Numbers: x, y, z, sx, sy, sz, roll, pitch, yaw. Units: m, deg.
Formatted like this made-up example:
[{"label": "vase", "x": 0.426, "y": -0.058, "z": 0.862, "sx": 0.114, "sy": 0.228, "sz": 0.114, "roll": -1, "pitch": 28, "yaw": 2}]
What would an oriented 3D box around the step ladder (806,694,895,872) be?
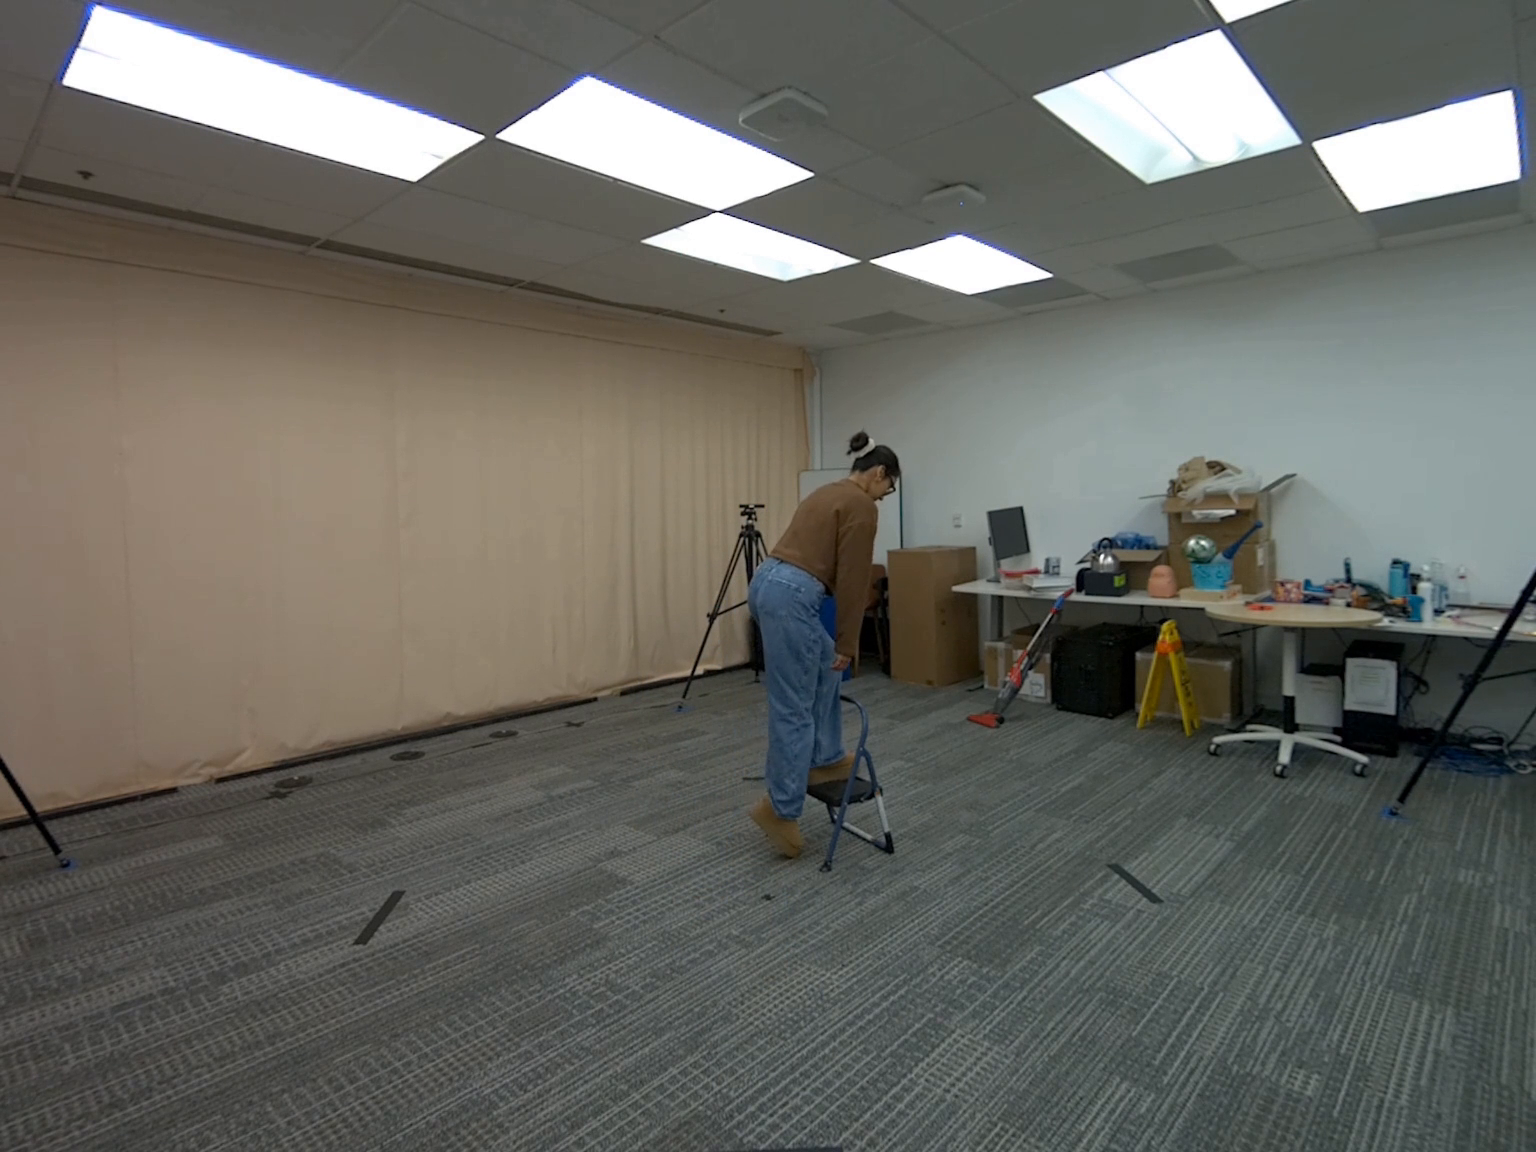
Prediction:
[{"label": "step ladder", "x": 0.255, "y": 0.795, "z": 3.427, "sx": 0.340, "sy": 0.605, "sz": 0.443, "roll": -3, "pitch": 4, "yaw": -30}]
